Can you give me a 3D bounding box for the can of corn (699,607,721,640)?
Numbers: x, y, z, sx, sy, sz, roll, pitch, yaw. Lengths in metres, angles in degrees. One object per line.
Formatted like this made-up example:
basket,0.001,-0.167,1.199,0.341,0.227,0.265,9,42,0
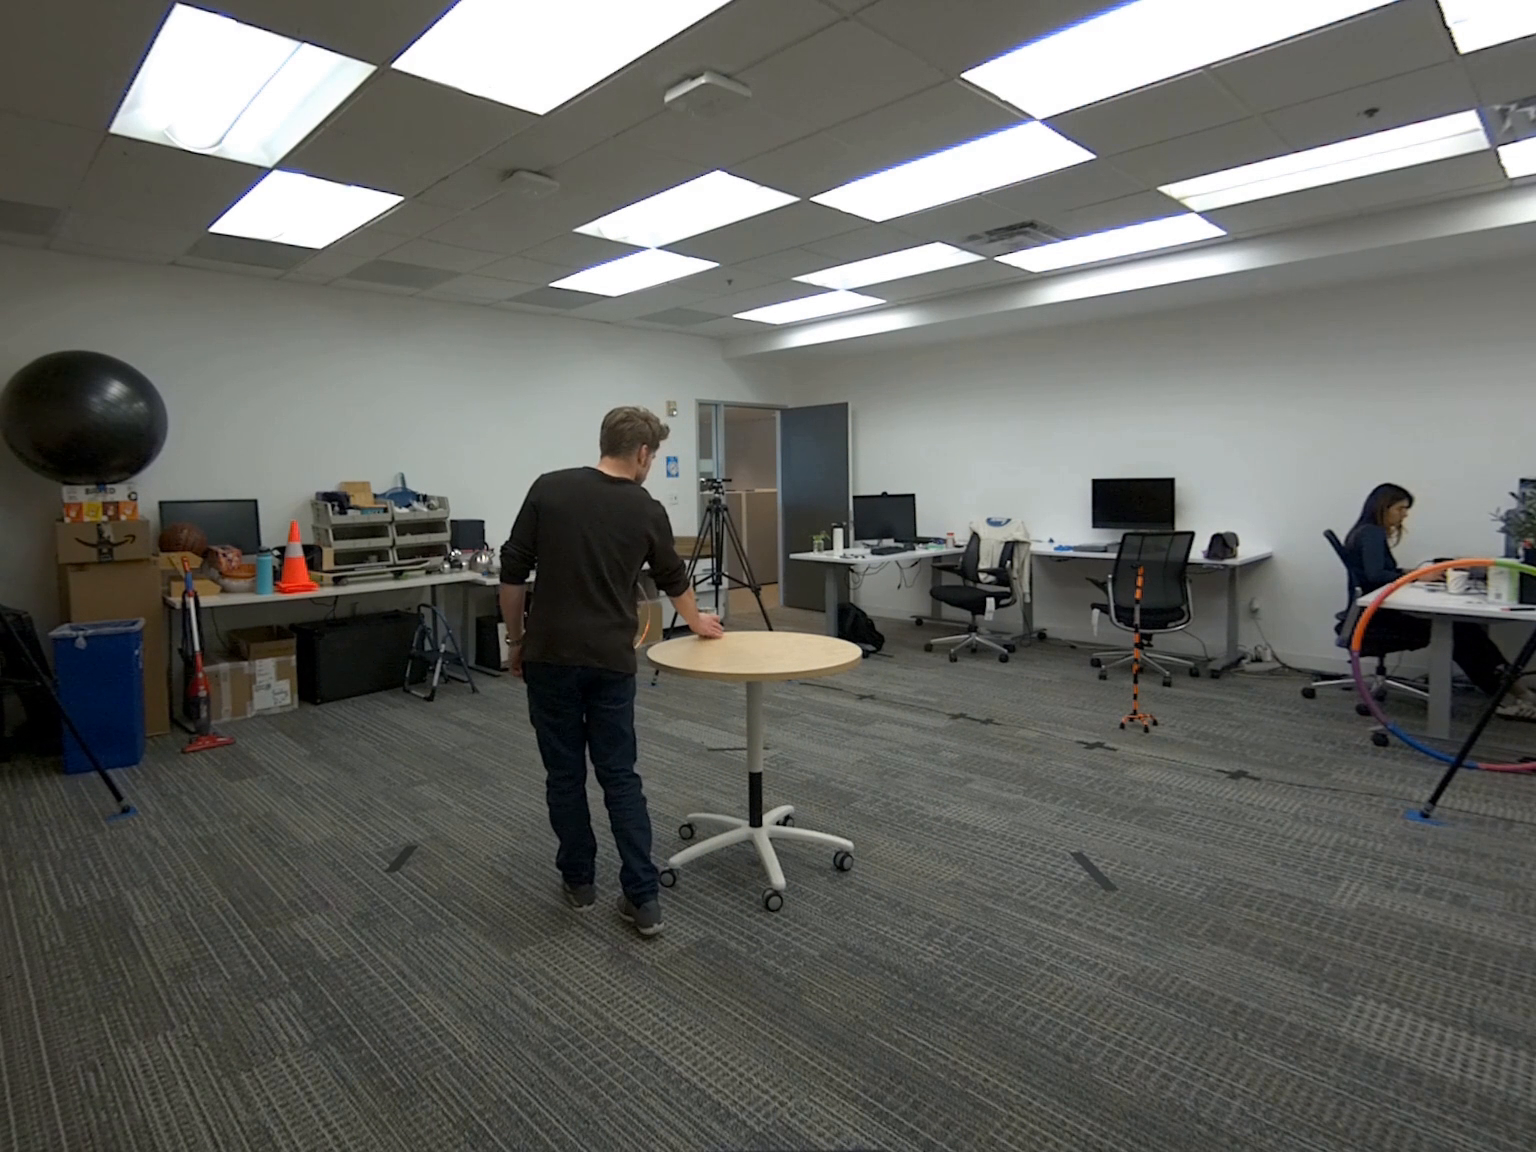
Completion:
can of corn,-0.228,0.181,3.334,0.074,0.111,0.074,-3,3,-1
